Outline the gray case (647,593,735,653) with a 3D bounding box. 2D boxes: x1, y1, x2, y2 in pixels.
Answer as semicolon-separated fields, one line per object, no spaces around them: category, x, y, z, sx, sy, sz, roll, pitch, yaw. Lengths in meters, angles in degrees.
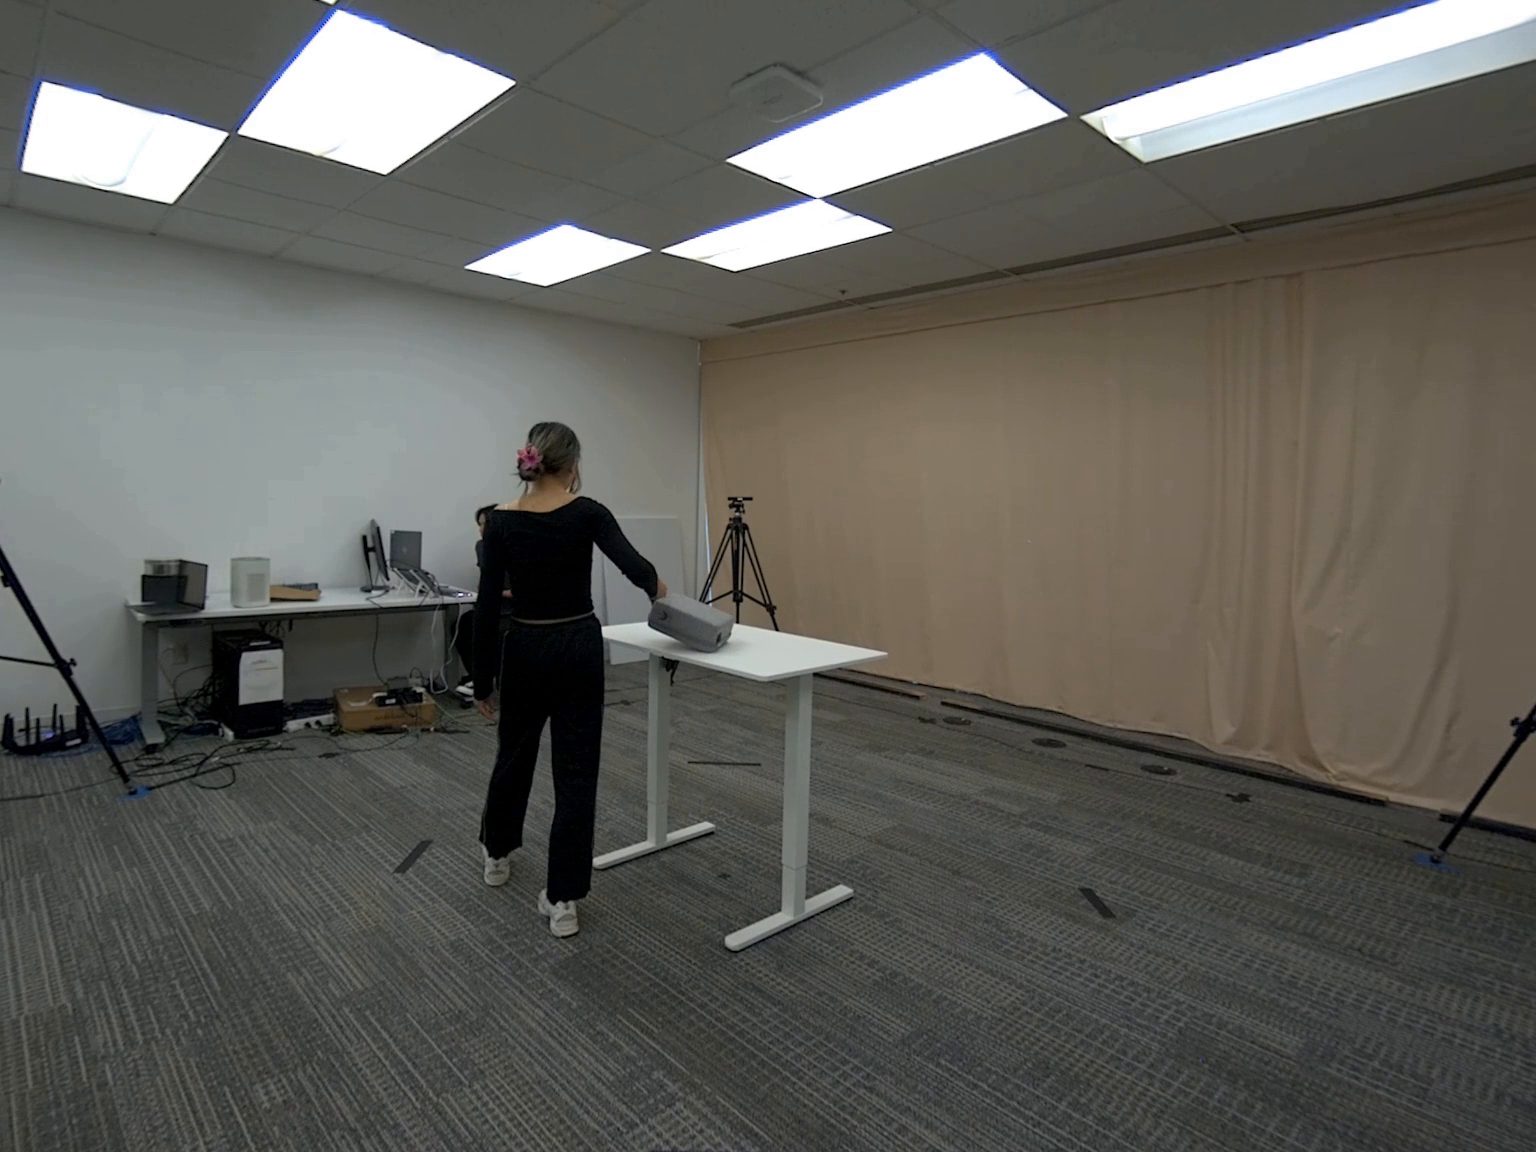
gray case;-0.266;0.152;2.893;0.263;0.104;0.255;20;7;10
